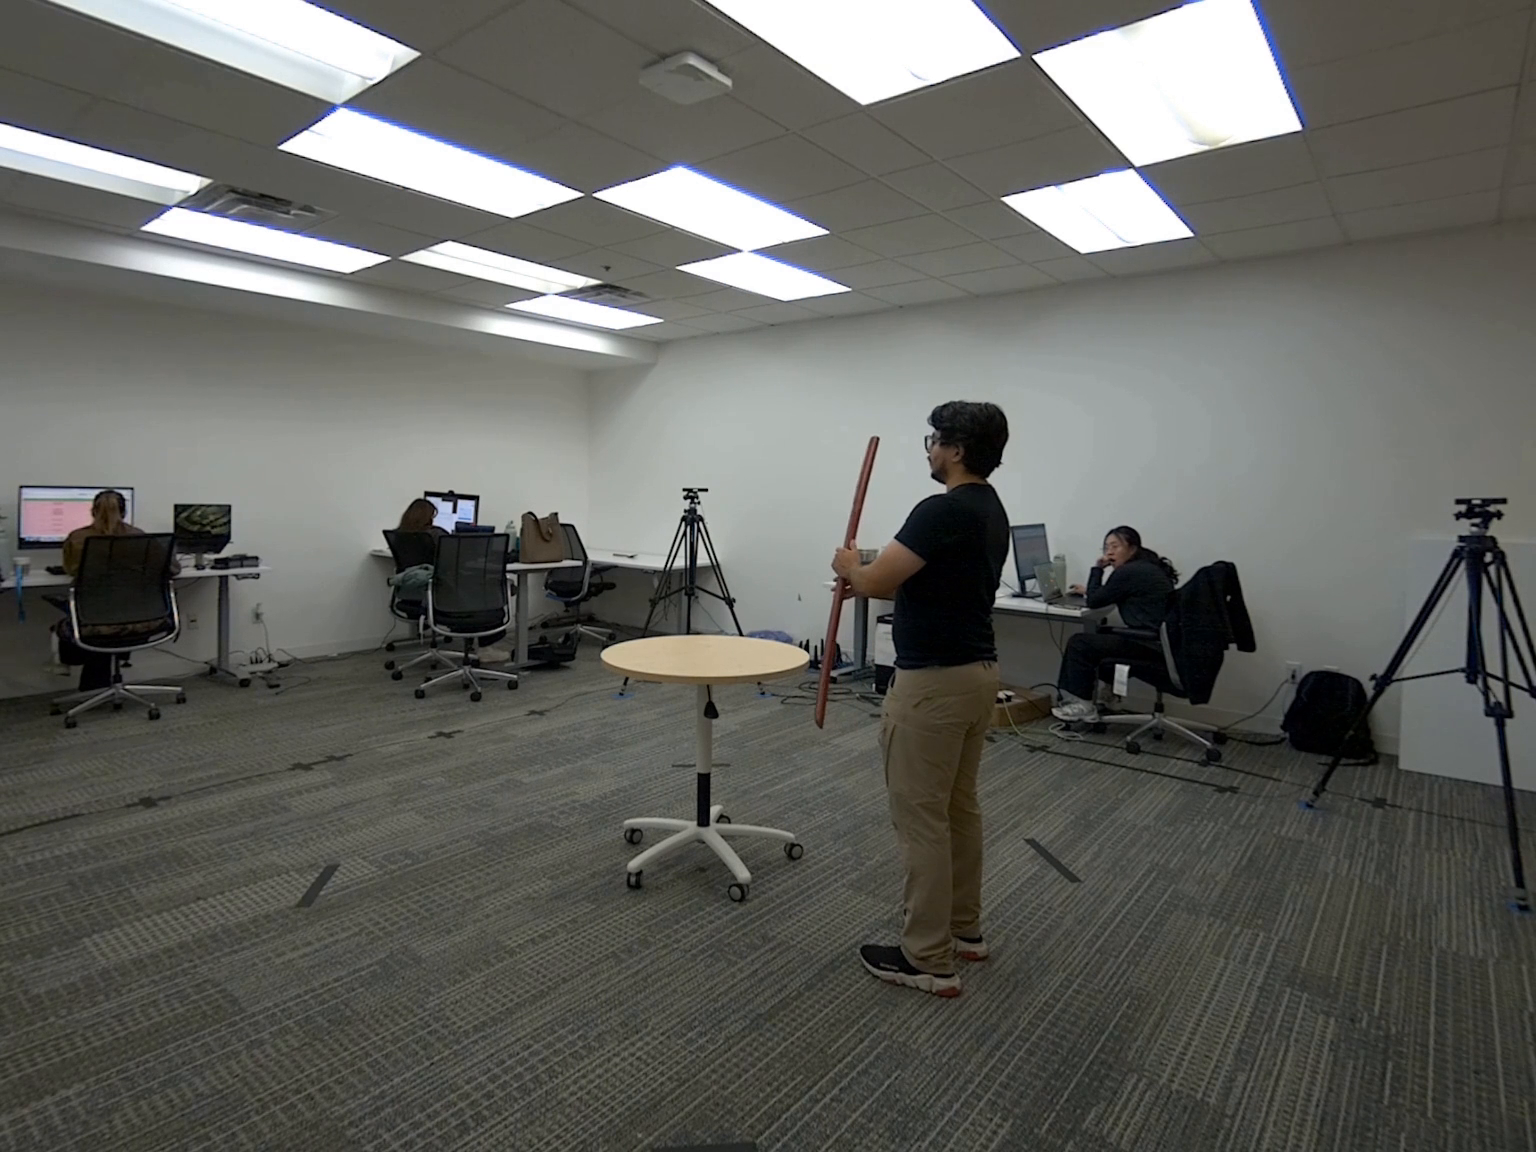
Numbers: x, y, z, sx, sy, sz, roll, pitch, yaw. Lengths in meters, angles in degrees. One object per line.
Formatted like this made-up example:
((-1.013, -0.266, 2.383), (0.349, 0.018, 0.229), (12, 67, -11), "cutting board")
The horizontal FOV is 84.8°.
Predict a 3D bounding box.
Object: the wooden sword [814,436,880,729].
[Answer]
((0.248, -0.028, 2.724), (0.053, 1.041, 0.023), (-6, -29, 34), "wooden sword")
